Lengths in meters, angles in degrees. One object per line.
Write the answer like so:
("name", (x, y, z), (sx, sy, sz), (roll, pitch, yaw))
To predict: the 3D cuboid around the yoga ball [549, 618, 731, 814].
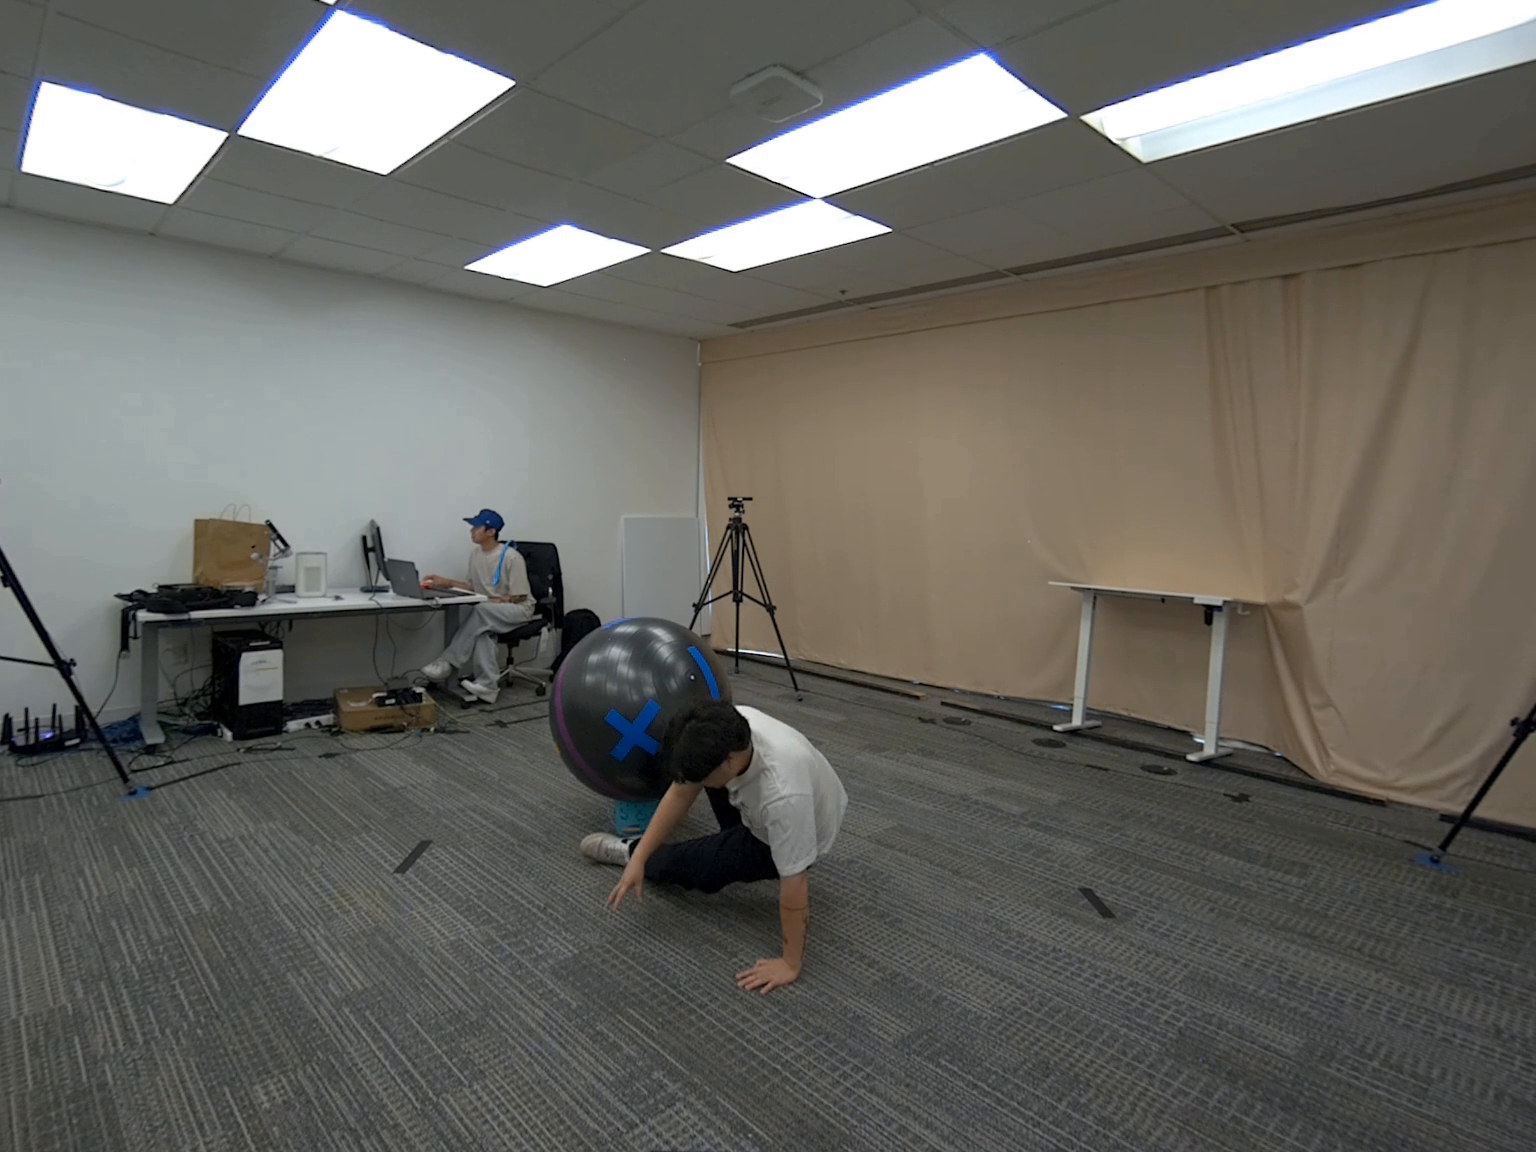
("yoga ball", (-0.531, 0.553, 3.513), (0.757, 0.756, 0.760), (1, 4, -1))
